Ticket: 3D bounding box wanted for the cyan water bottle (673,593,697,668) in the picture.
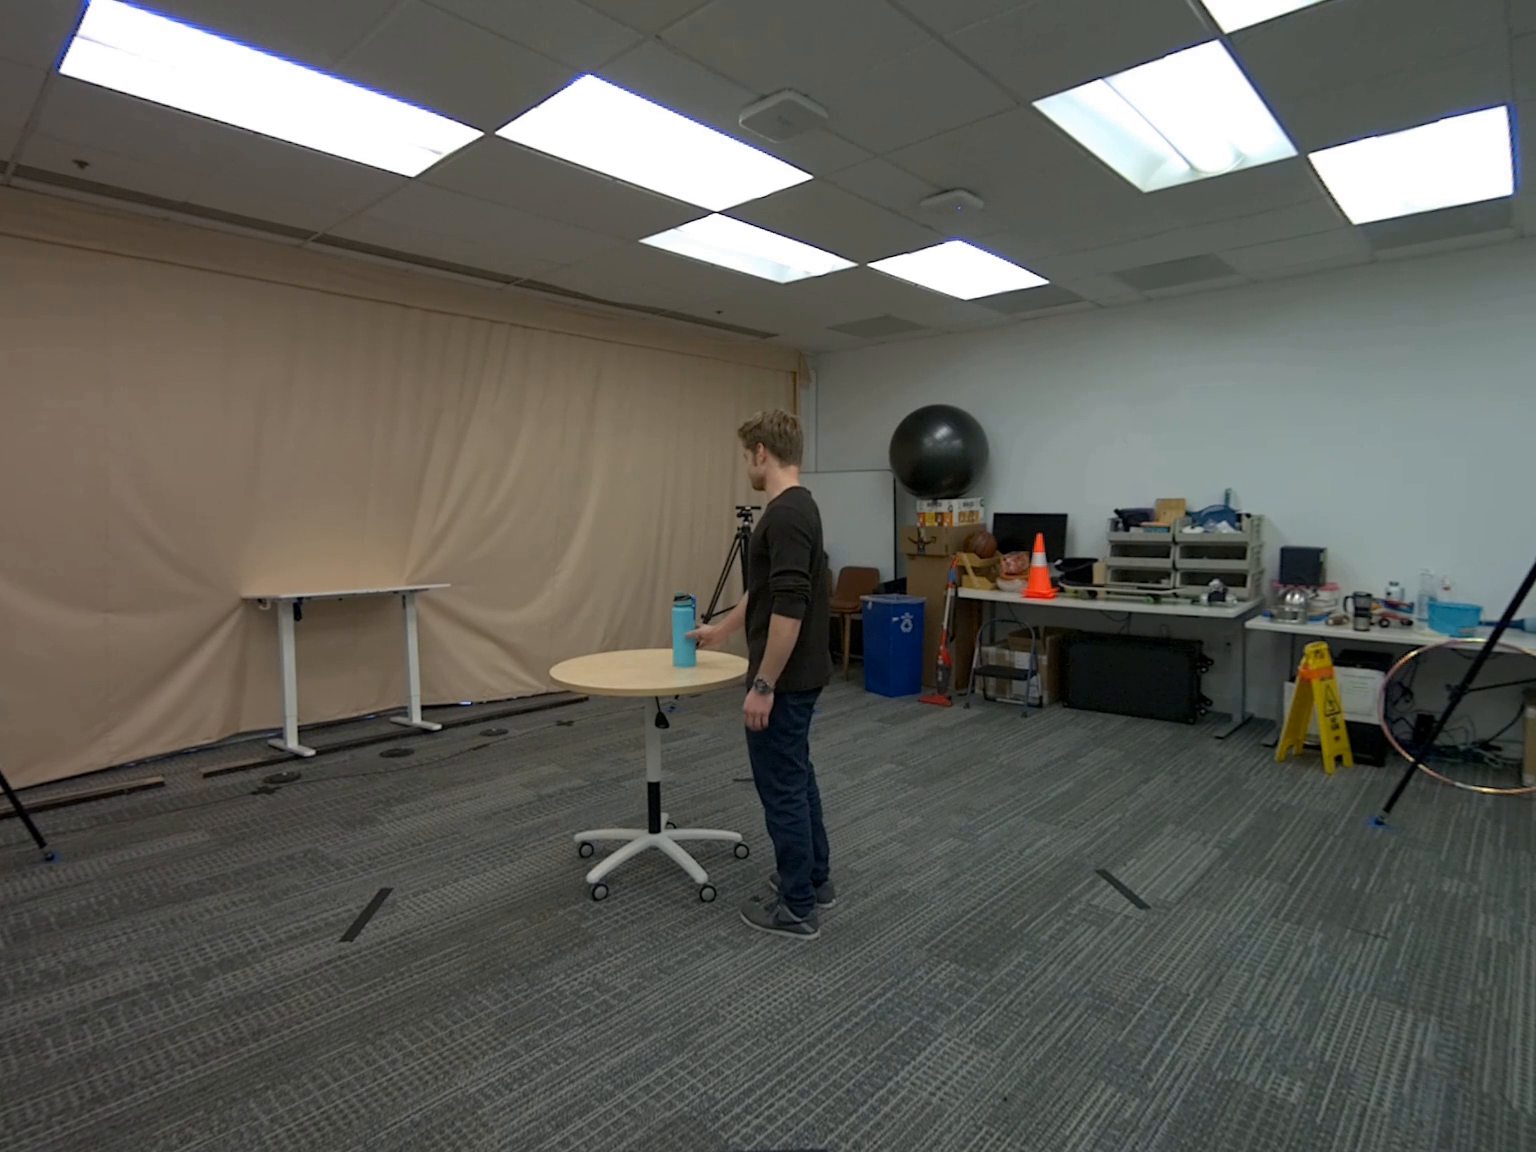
[{"bbox_3d":[-0.319,0.203,3.227,0.092,0.283,0.092,2,2,-2],"label":"cyan water bottle"}]
